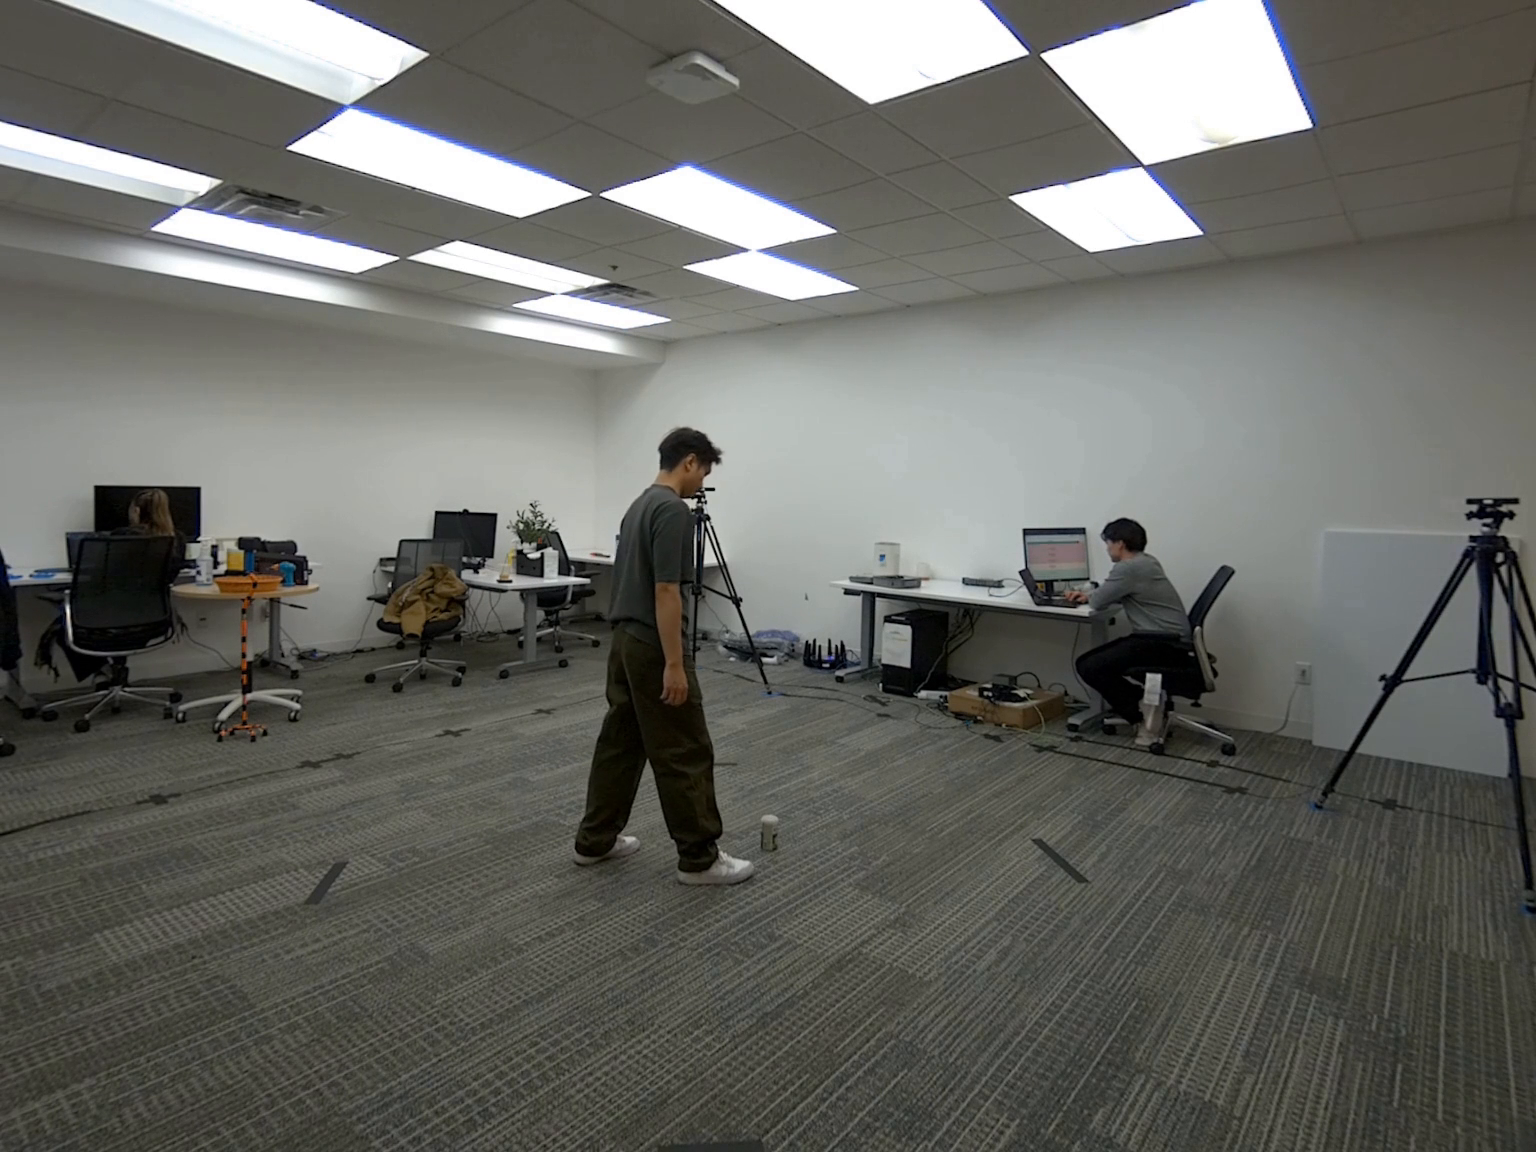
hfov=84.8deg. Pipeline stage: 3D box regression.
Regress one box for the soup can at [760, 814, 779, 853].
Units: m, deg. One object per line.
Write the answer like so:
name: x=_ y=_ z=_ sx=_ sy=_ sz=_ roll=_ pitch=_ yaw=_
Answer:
soup can: x=-0.005 y=0.998 z=3.295 sx=0.067 sy=0.121 sz=0.067 roll=3 pitch=5 yaw=-2
